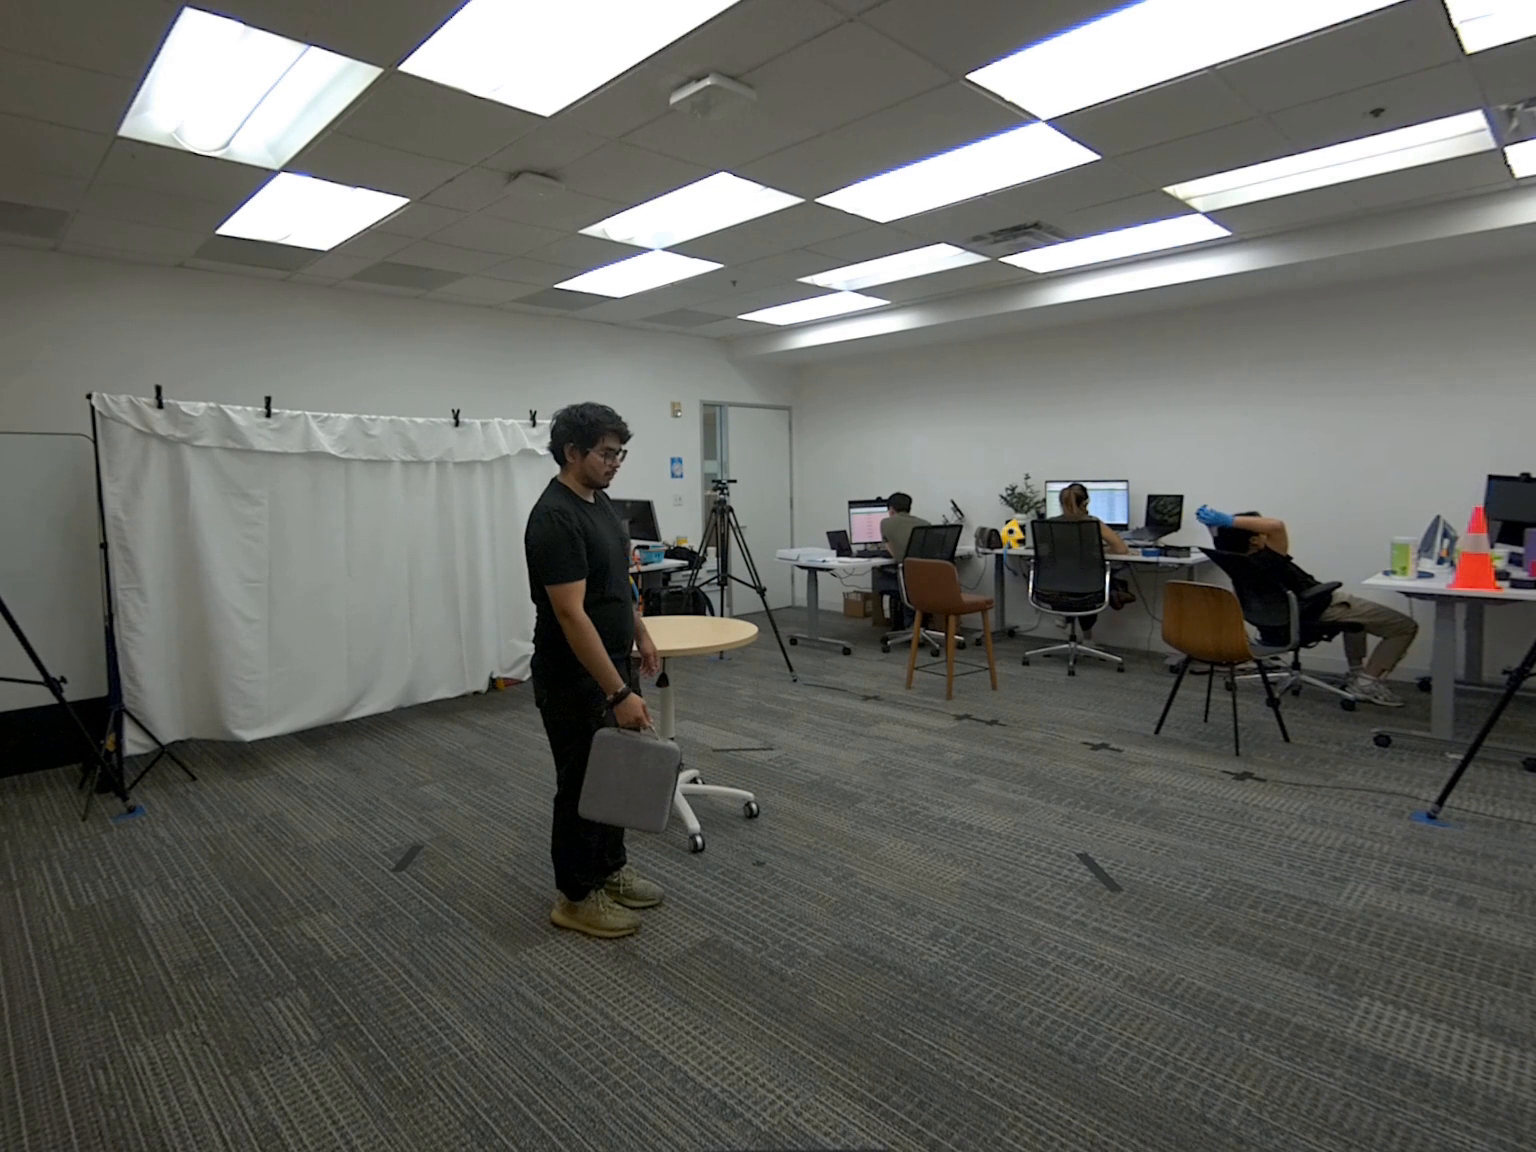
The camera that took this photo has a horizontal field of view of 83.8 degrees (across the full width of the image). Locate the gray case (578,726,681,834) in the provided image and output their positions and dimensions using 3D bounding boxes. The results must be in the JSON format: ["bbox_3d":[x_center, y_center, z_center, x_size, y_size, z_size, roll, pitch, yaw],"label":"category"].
[{"bbox_3d":[-0.377,0.569,2.407,0.258,0.262,0.103,9,-7,5],"label":"gray case"}]
